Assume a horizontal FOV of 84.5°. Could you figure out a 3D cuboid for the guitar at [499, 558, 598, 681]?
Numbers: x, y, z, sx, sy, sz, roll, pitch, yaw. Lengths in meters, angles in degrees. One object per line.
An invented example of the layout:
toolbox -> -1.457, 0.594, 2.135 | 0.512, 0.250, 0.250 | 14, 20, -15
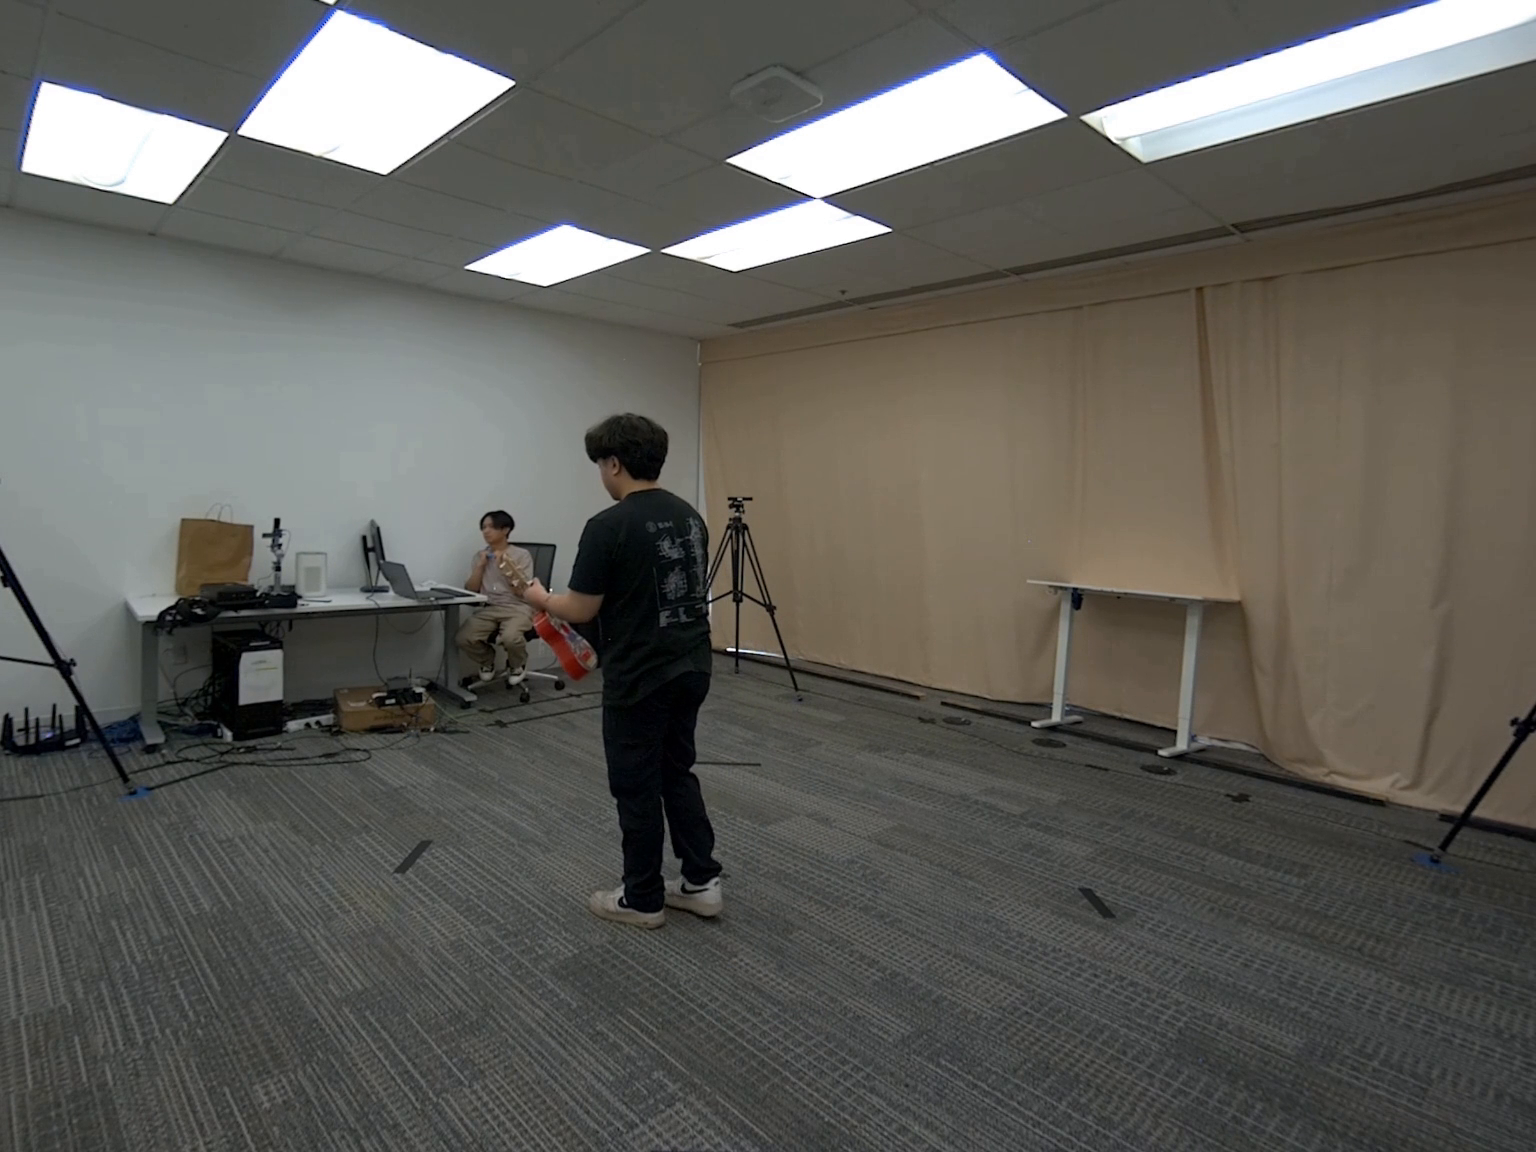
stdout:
guitar -> -0.761, 0.134, 2.934 | 0.071, 0.500, 0.192 | -36, -4, 6
